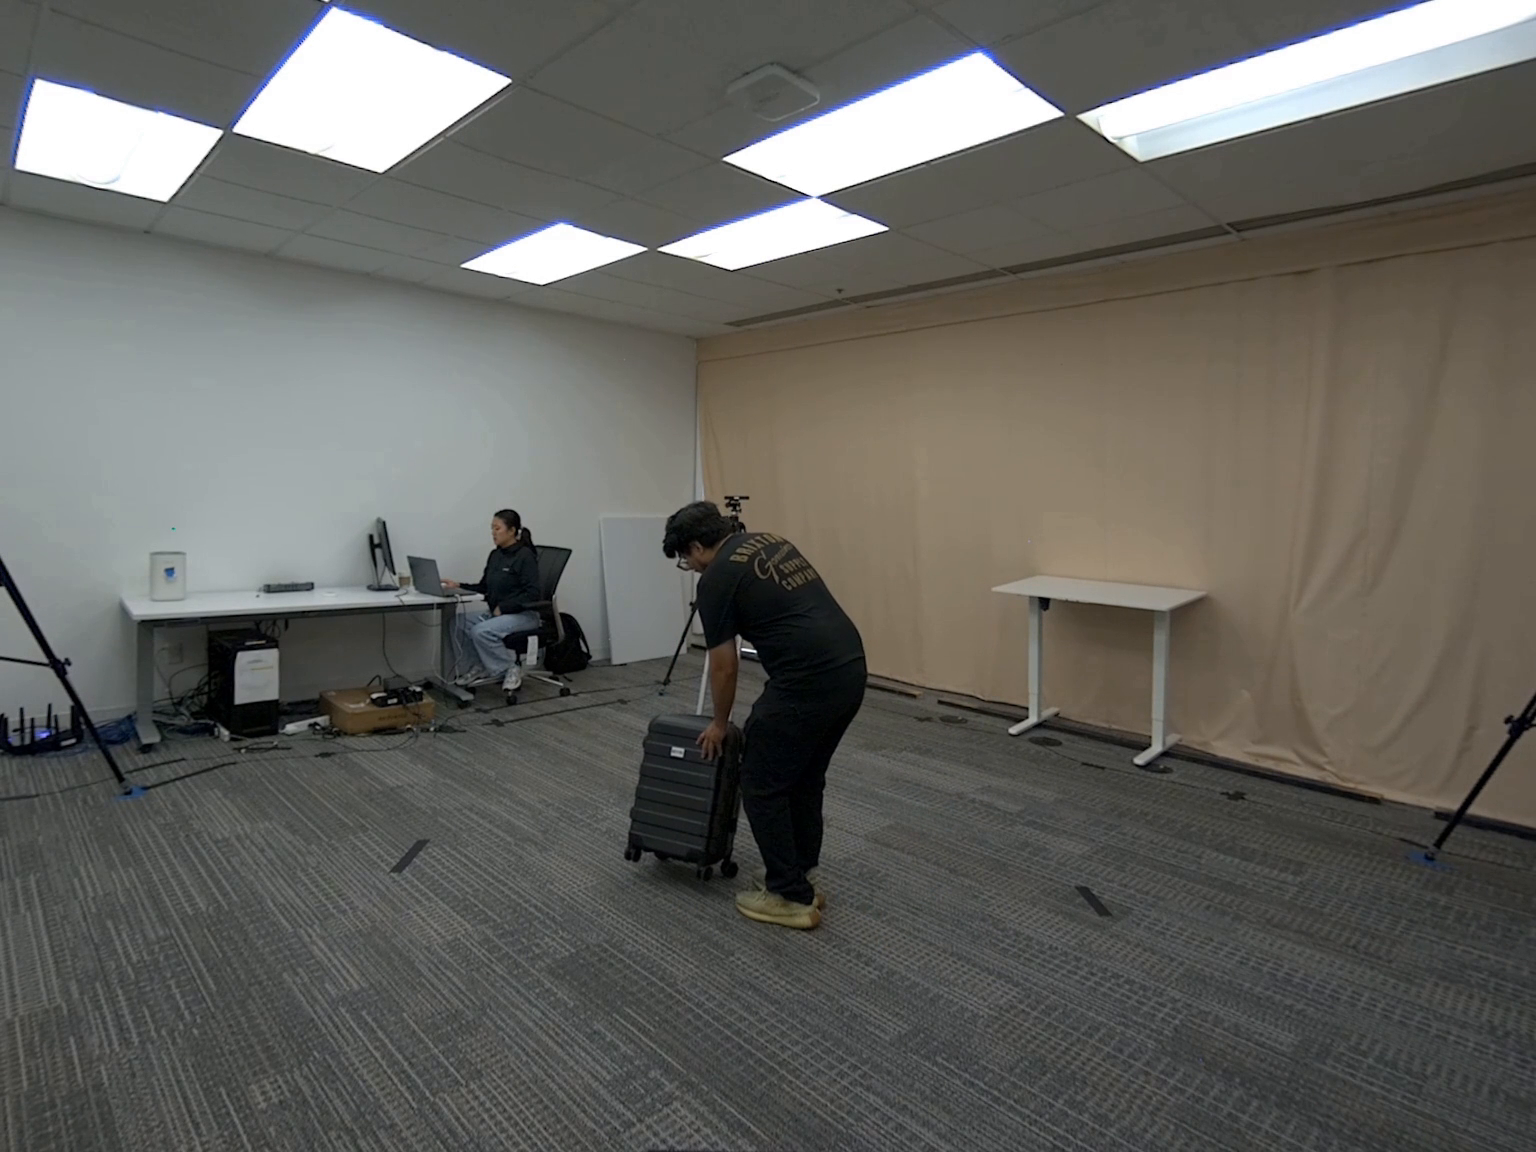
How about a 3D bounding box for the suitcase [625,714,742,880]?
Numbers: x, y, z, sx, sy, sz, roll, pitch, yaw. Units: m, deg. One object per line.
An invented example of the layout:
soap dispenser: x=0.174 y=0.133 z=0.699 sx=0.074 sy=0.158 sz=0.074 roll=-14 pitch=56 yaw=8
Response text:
suitcase: x=-0.270 y=0.598 z=3.168 sx=0.391 sy=0.986 sz=0.250 roll=2 pitch=-13 yaw=26
